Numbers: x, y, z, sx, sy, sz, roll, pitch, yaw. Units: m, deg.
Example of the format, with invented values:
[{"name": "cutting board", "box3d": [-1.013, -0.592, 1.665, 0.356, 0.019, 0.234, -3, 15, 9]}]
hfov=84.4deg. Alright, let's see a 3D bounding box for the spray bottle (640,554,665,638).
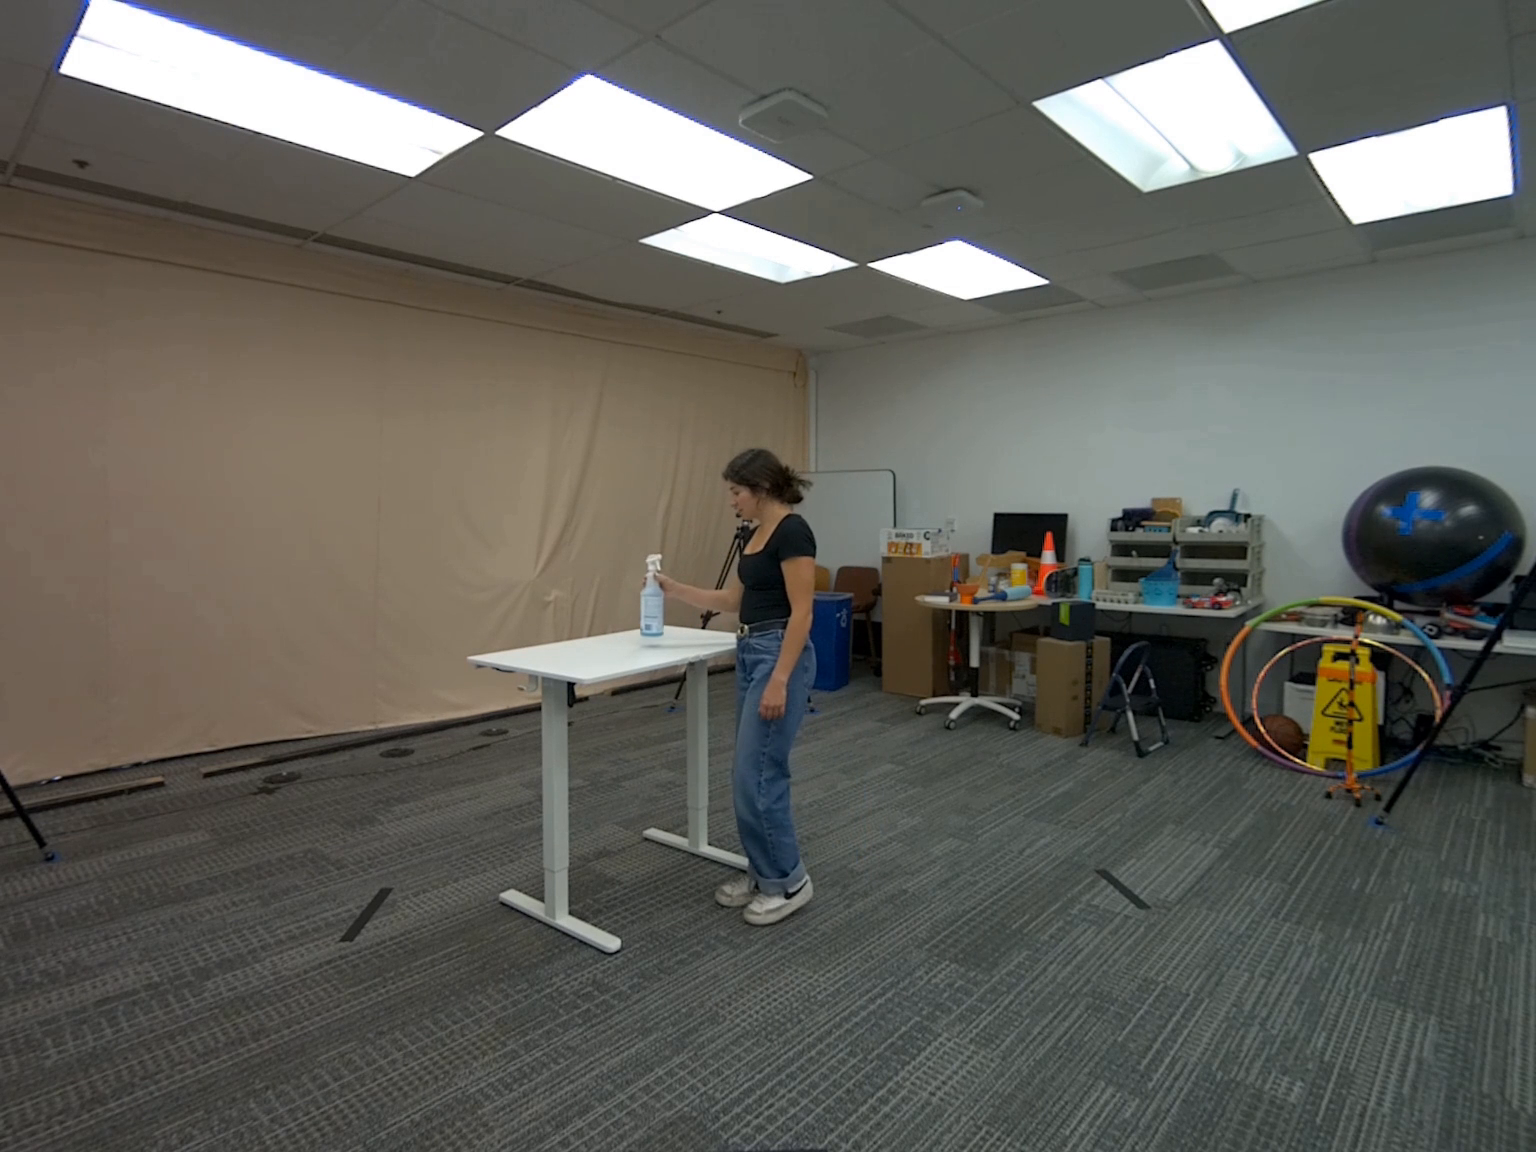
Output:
[{"name": "spray bottle", "box3d": [-0.417, 0.073, 3.089, 0.086, 0.297, 0.091, 1, 2, -11]}]
